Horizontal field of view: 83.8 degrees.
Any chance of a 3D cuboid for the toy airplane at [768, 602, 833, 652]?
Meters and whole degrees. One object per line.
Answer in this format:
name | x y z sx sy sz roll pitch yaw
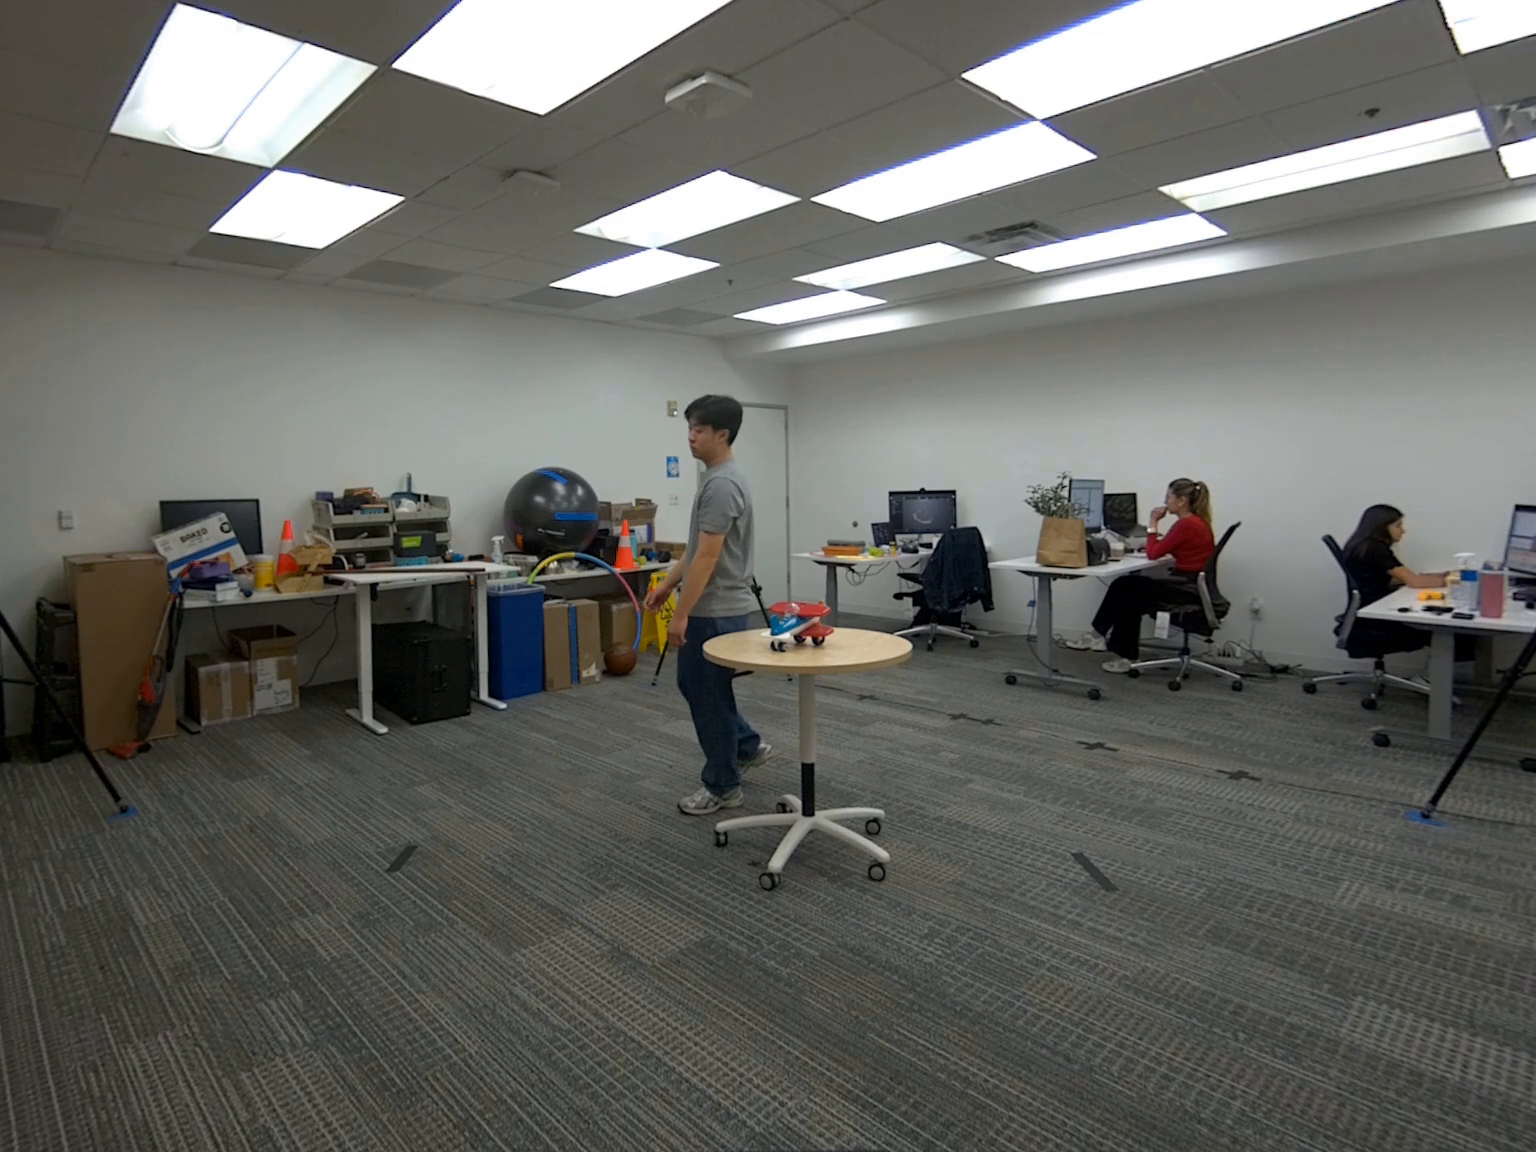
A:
toy airplane | 0.113 0.182 3.092 0.255 0.156 0.256 -1 4 14
